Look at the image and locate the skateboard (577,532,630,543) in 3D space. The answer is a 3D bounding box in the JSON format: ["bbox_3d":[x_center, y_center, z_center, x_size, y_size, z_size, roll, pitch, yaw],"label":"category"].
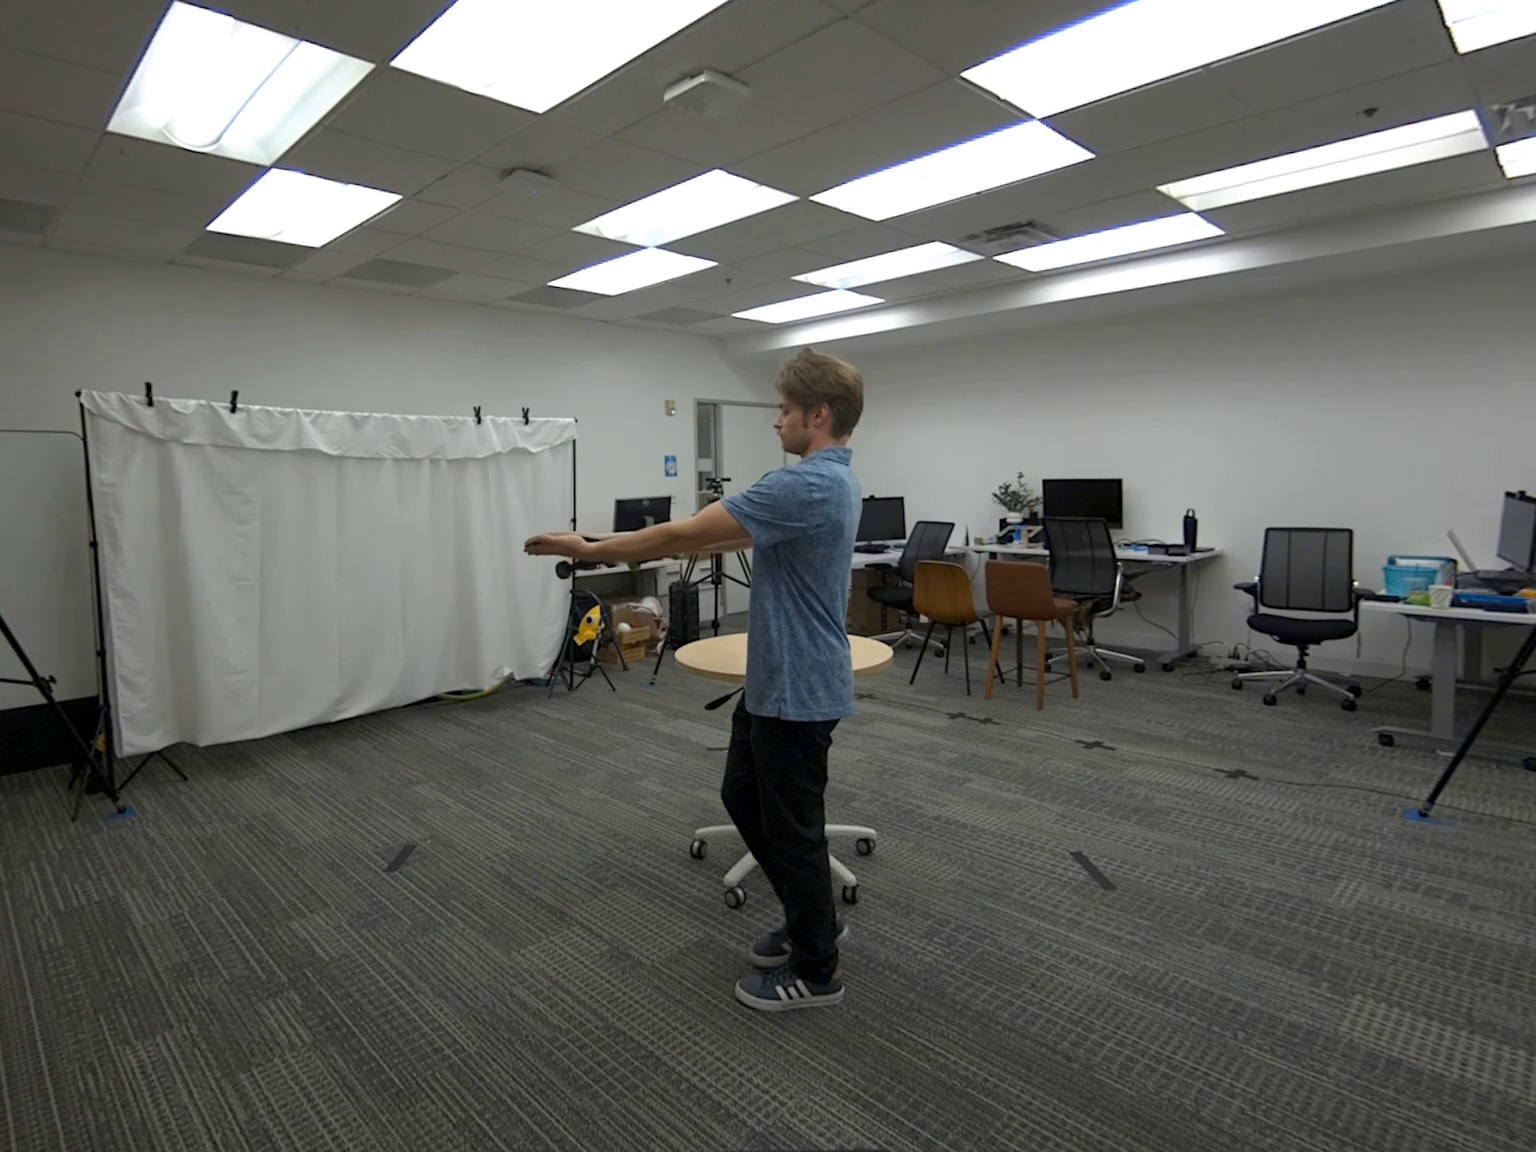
[{"bbox_3d":[-0.432,-0.075,2.488,0.196,0.110,0.775,-15,0,16],"label":"skateboard"}]
